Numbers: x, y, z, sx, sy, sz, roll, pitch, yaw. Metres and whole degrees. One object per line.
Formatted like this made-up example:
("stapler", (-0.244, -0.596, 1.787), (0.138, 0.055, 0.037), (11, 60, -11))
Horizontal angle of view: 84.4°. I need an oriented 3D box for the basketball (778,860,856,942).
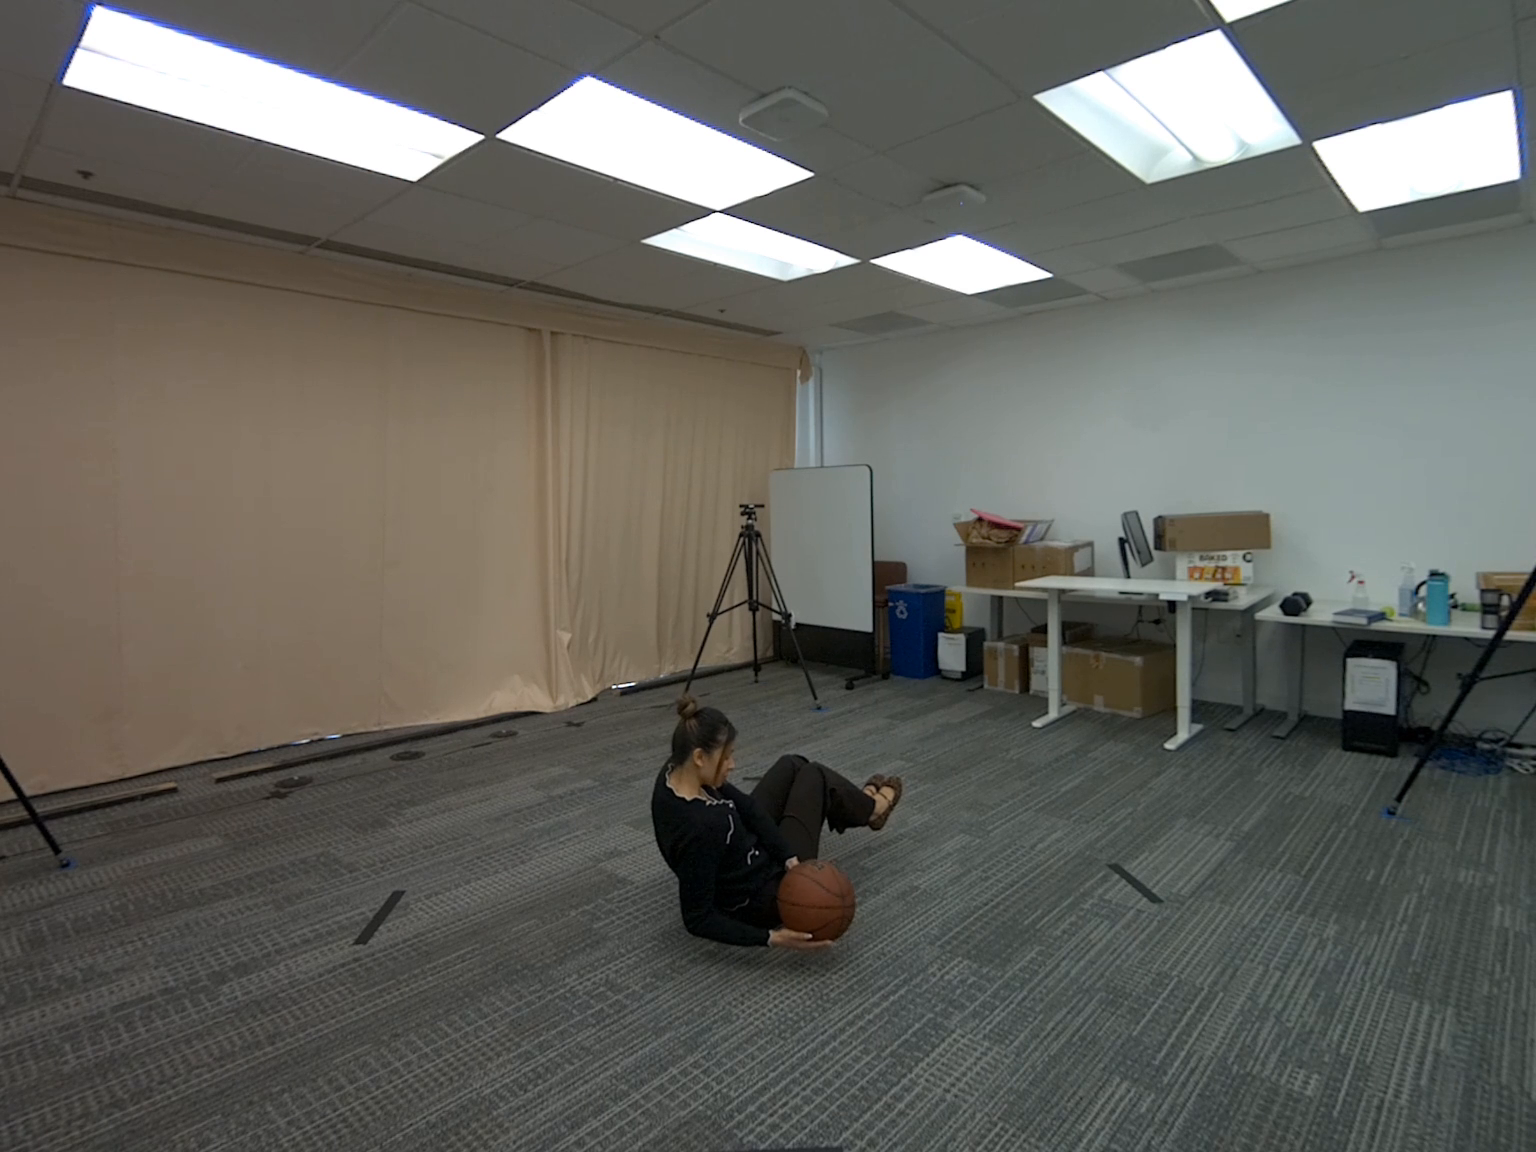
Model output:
("basketball", (0.151, 0.962, 2.540), (0.236, 0.235, 0.237), (-1, 4, -2))
